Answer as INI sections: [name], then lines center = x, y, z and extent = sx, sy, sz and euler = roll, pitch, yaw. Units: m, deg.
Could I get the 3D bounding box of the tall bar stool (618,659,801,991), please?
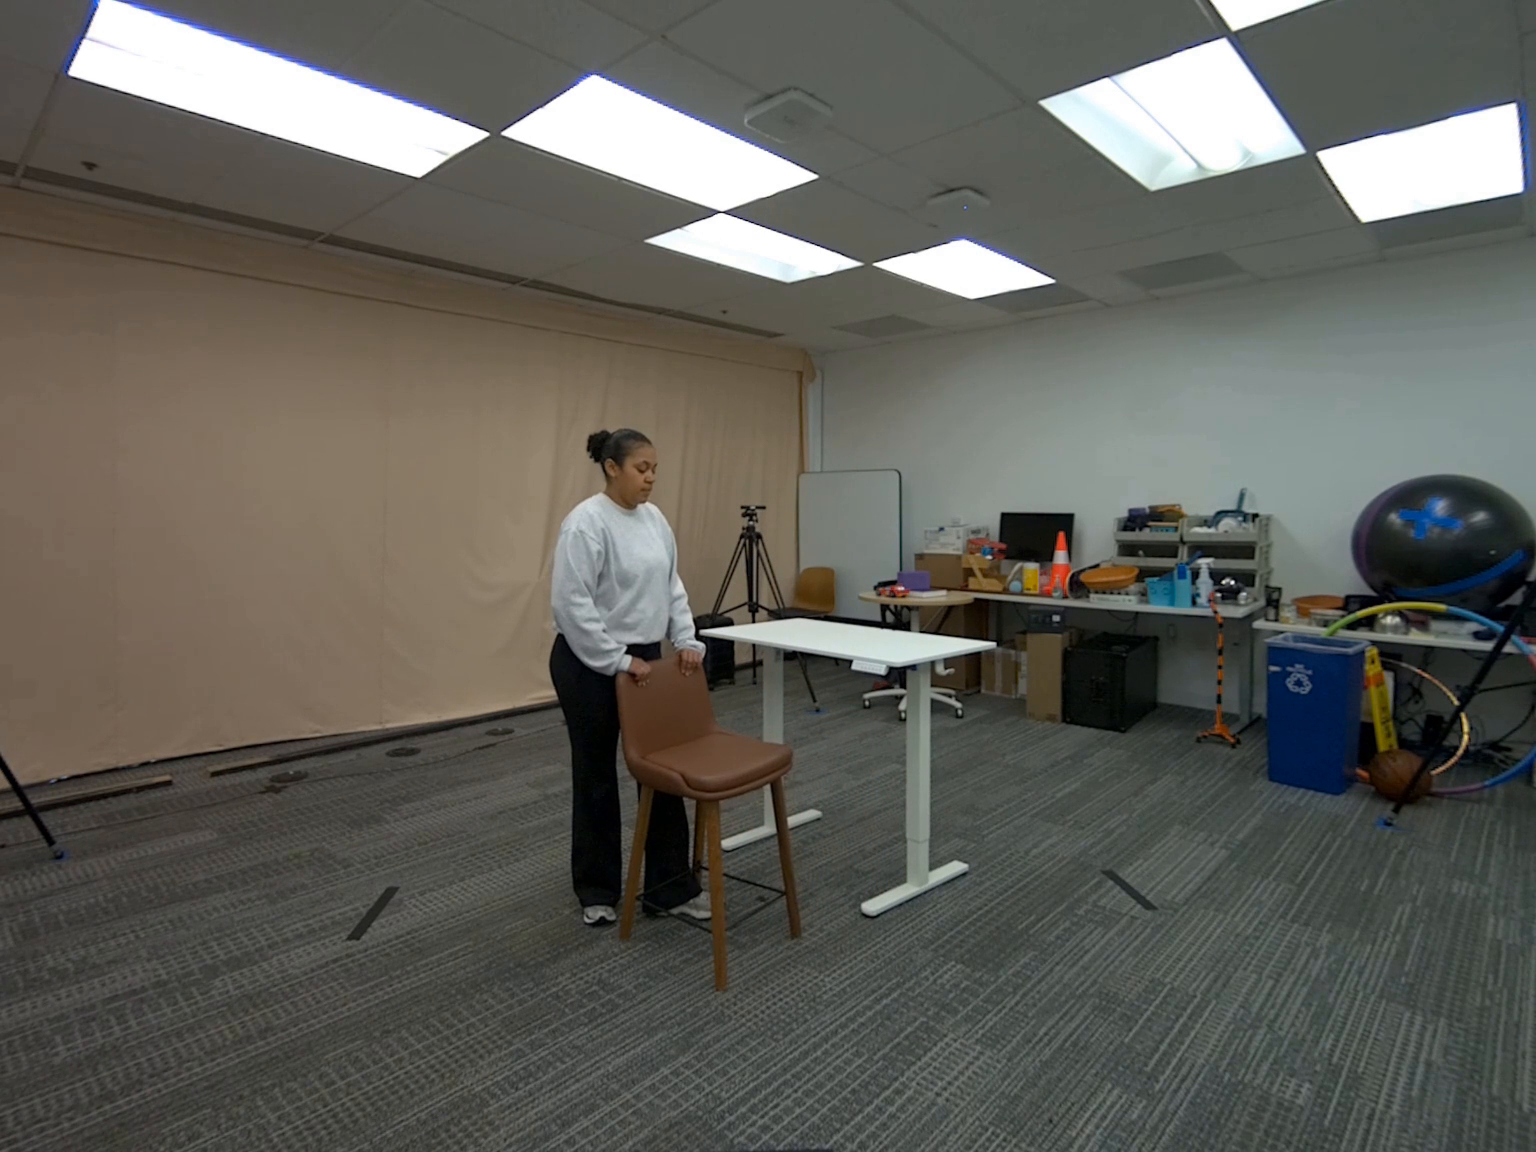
[tall bar stool]
center = -0.195, 0.733, 2.690
extent = 0.482, 0.889, 0.443
euler = -1, 2, 39
